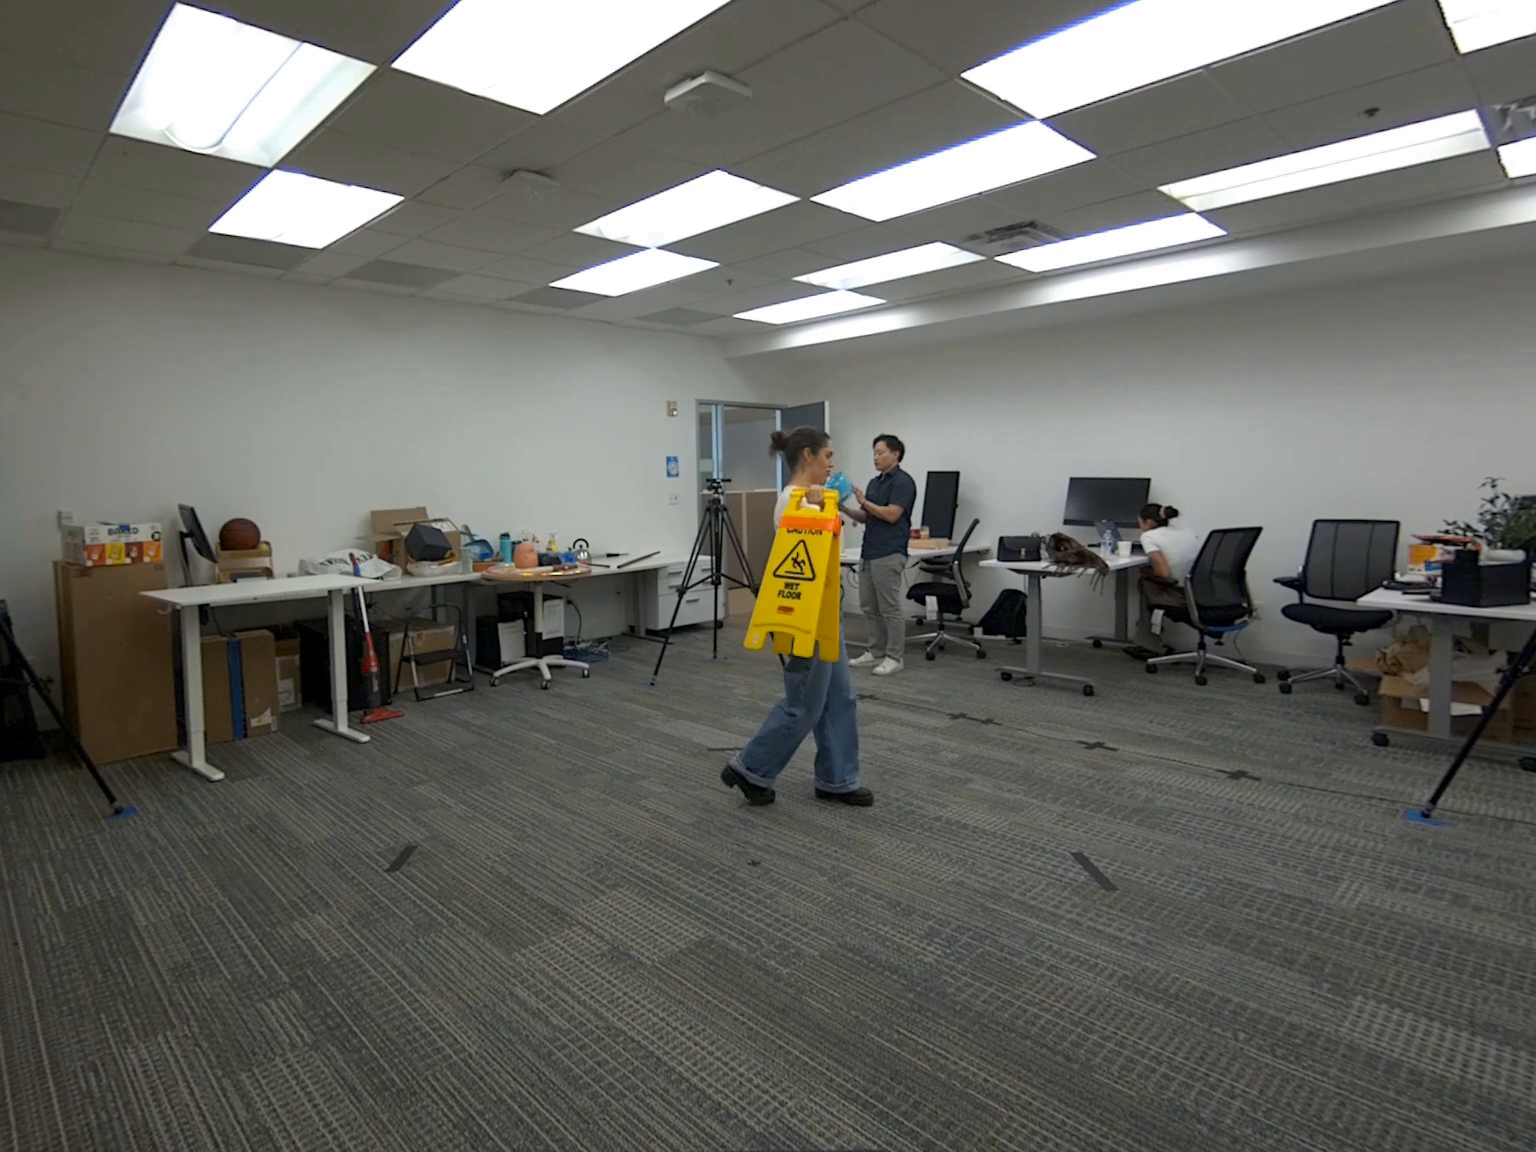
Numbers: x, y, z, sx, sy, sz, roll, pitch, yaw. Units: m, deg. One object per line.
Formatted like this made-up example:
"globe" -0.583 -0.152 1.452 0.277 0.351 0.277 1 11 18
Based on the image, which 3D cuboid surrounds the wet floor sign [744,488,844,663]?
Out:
"wet floor sign" 0.130 -0.014 3.286 0.290 0.649 0.280 5 -8 29
